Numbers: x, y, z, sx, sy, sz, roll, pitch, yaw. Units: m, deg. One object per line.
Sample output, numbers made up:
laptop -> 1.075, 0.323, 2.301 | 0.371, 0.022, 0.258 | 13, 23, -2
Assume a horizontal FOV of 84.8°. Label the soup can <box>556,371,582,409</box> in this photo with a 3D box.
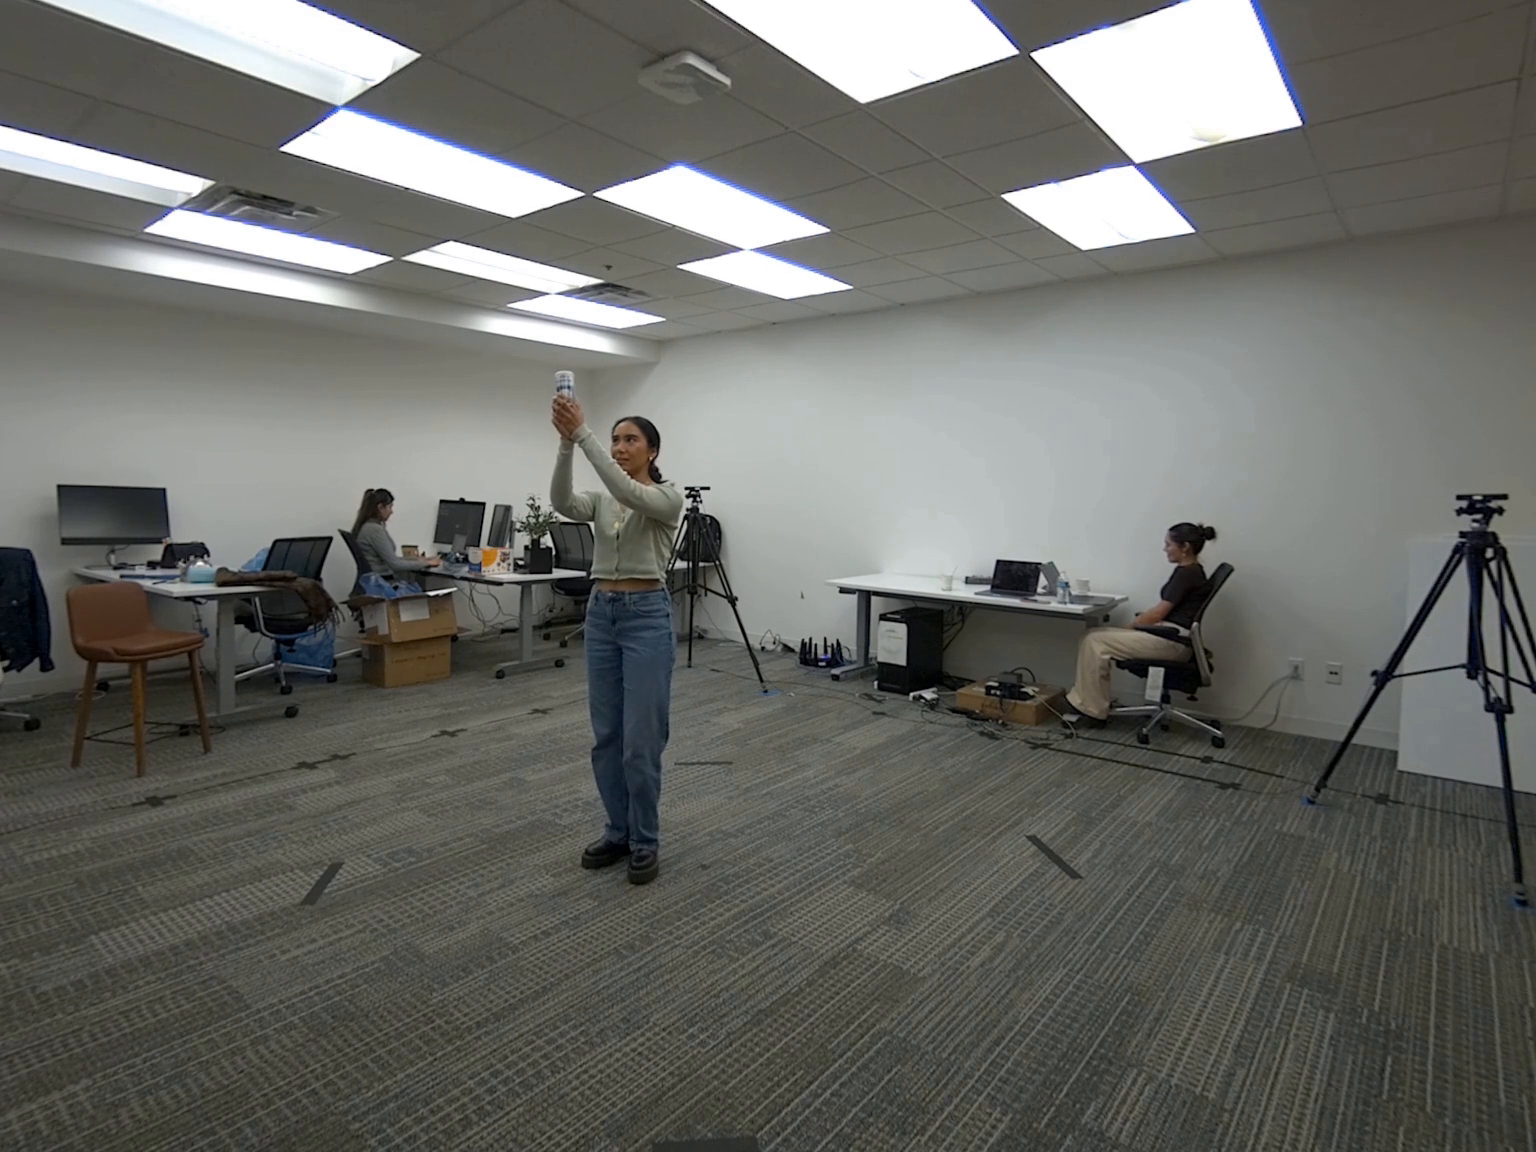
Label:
soup can -> -0.685, -0.631, 2.882 | 0.067, 0.123, 0.066 | -6, -9, -3
